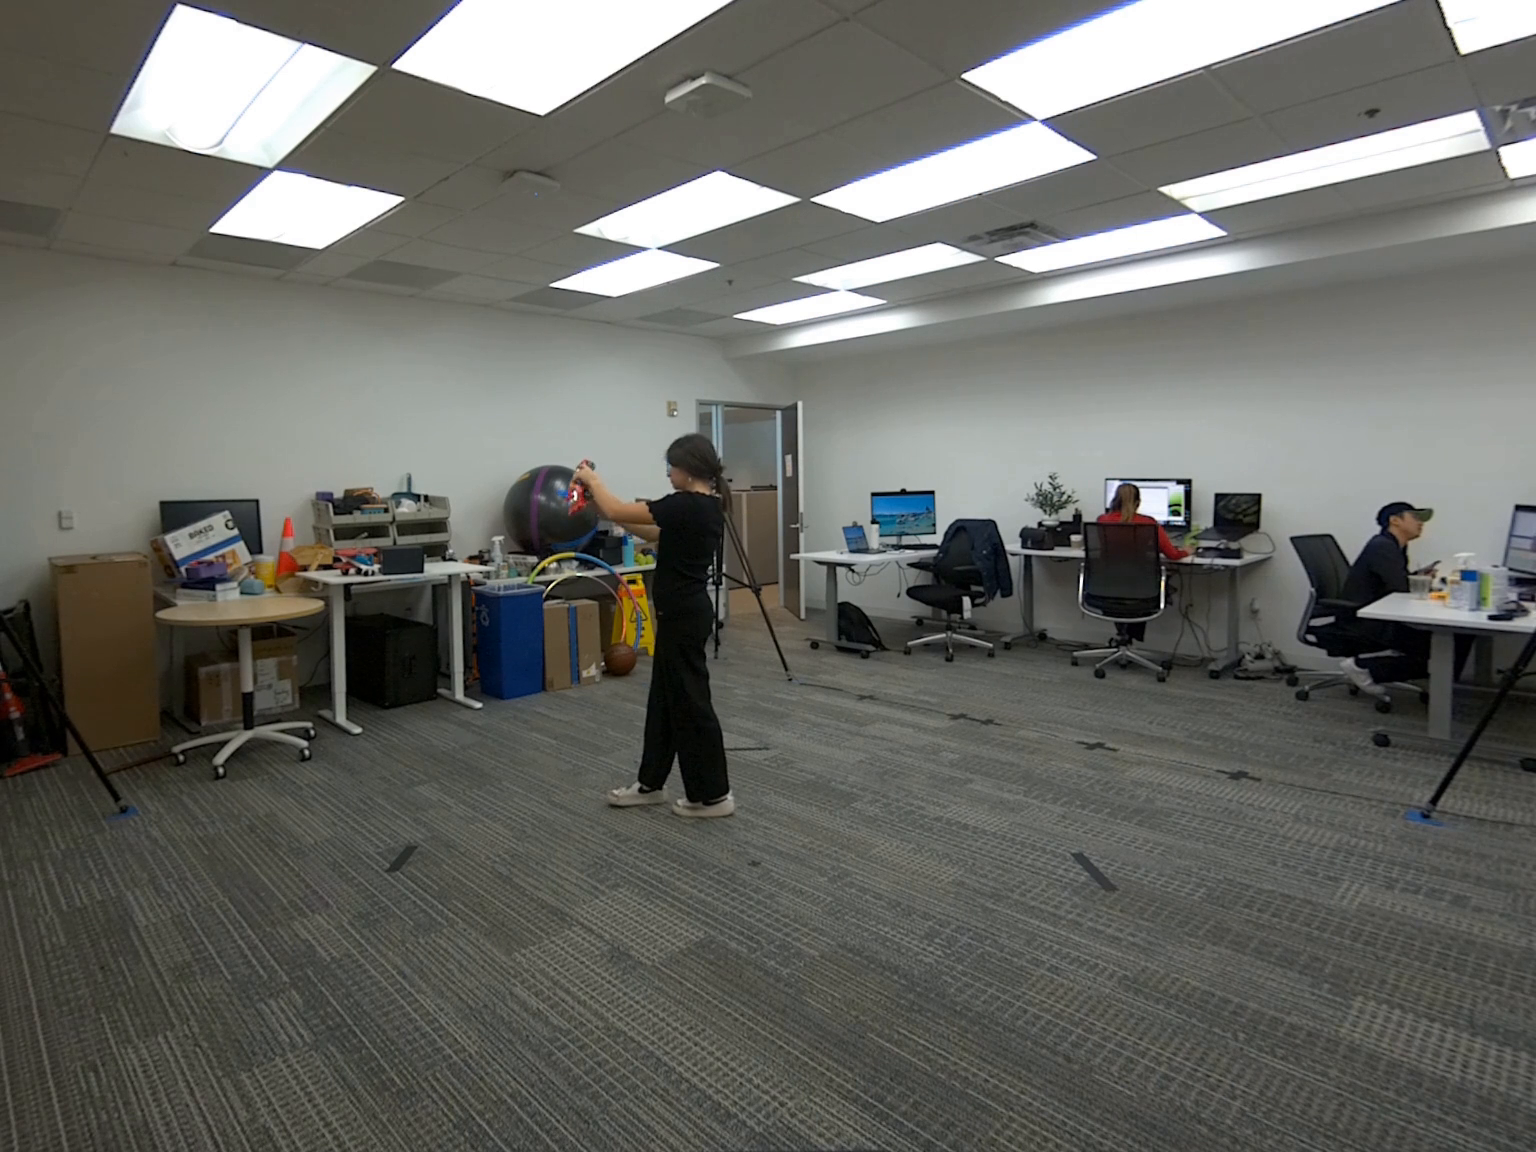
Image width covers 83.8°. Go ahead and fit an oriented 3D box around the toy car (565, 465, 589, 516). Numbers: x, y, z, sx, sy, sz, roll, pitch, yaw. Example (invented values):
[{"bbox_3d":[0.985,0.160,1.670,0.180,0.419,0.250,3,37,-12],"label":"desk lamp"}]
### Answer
[{"bbox_3d":[-0.797,-0.368,3.616,0.081,0.259,0.132,32,-38,-28],"label":"toy car"}]
